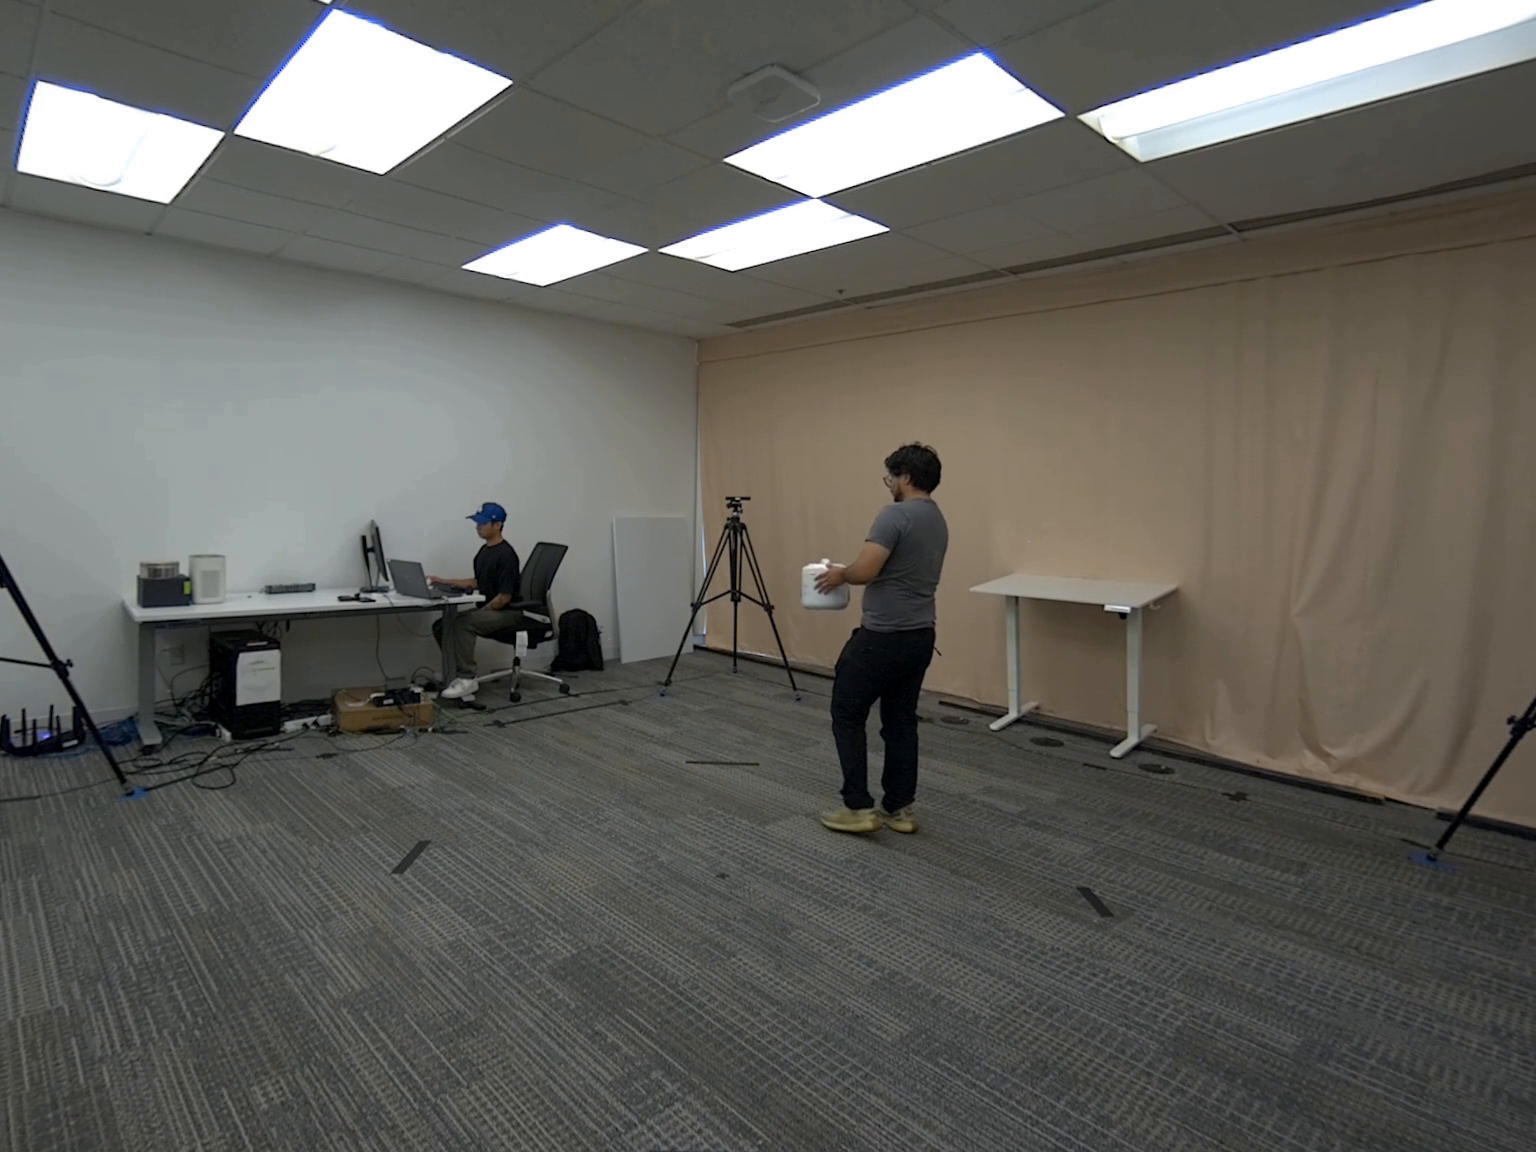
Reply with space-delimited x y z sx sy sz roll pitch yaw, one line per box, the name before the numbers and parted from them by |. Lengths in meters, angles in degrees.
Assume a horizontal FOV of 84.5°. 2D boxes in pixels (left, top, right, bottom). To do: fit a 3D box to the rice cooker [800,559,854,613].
rice cooker | 0.260 0.041 3.818 0.217 0.233 0.220 0 -2 0
